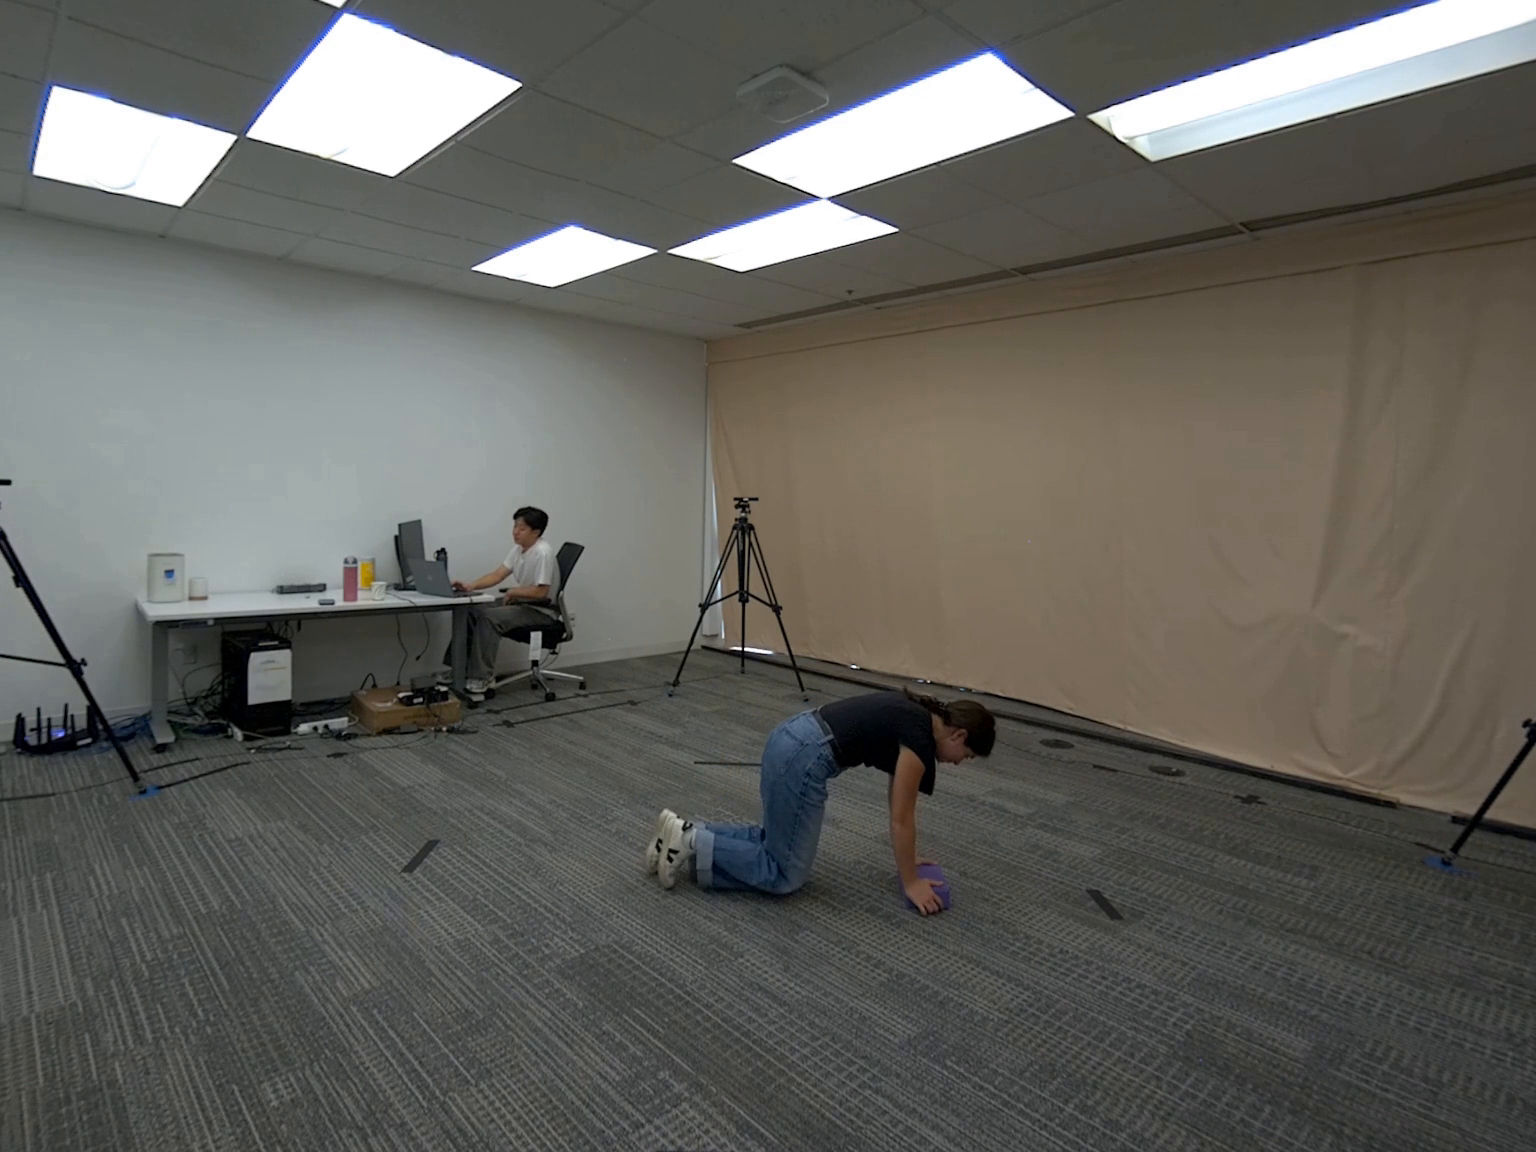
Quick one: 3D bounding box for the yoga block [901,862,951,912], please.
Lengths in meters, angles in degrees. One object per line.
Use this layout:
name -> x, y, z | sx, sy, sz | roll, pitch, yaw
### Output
yoga block -> 0.548, 1.099, 2.987 | 0.149, 0.076, 0.229 | 0, 3, 3
